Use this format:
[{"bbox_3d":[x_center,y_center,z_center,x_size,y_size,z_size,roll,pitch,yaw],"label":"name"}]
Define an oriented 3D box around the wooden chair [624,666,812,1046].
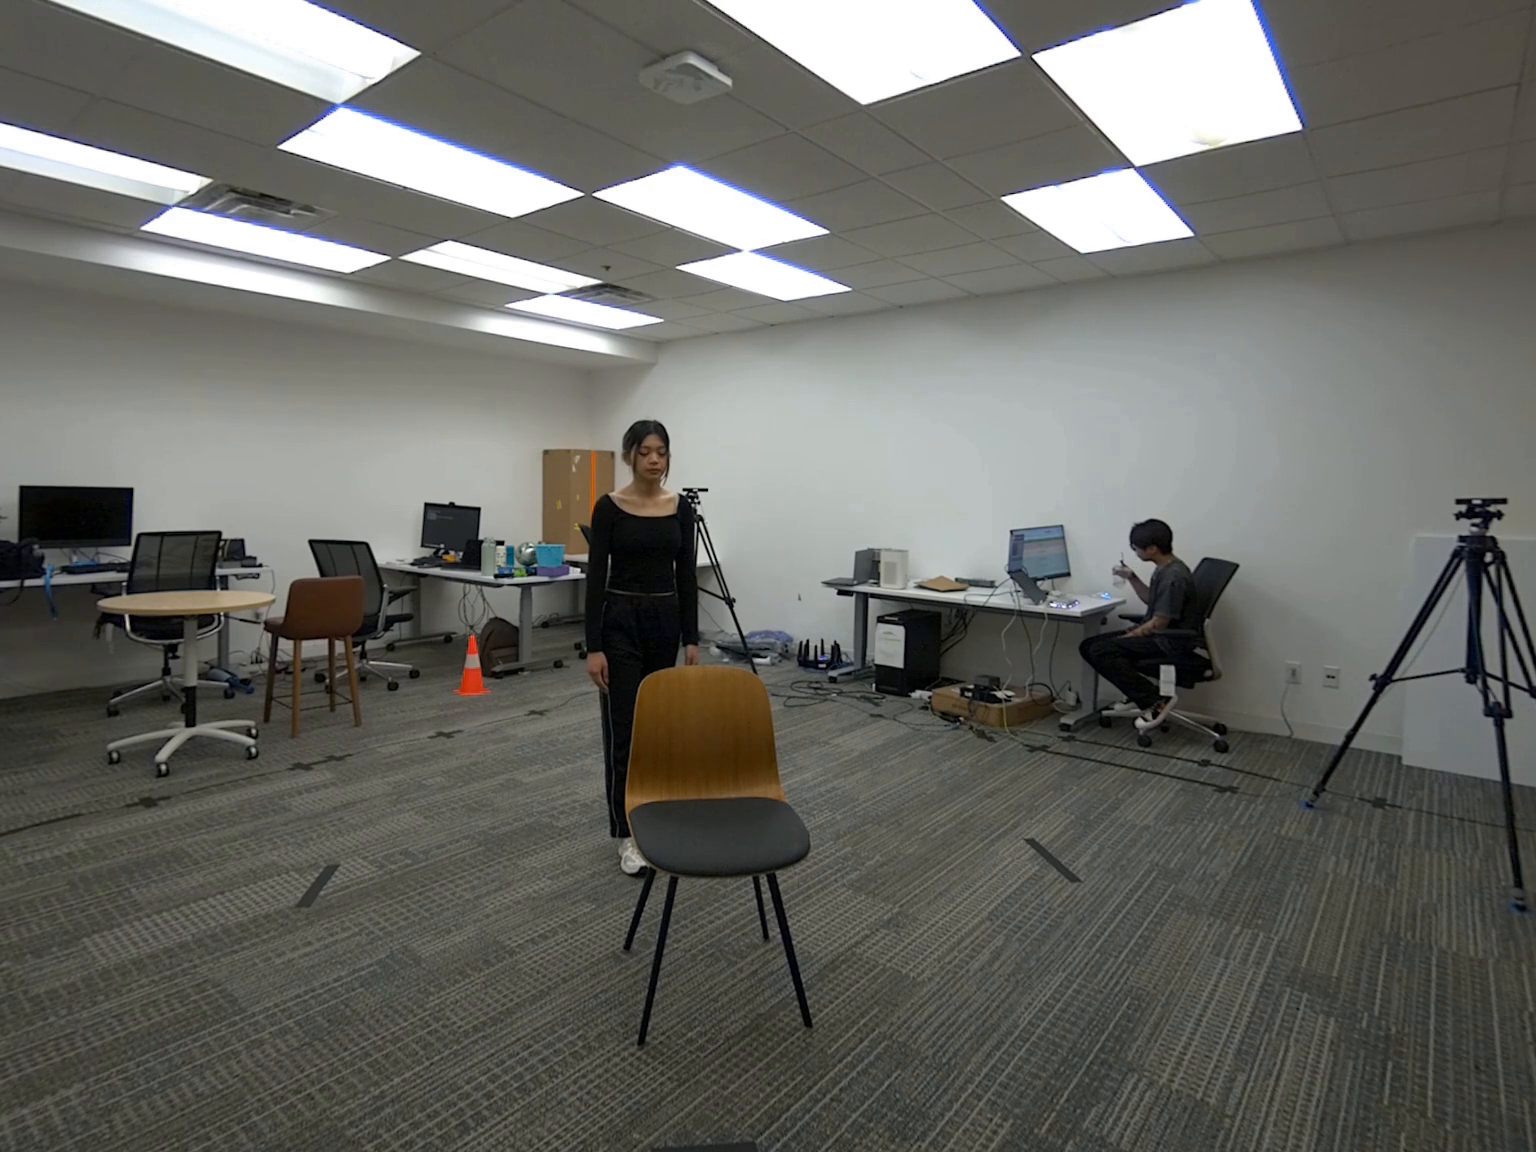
[{"bbox_3d":[-0.153,0.720,2.341,0.472,0.878,0.530,1,0,-13],"label":"wooden chair"}]
